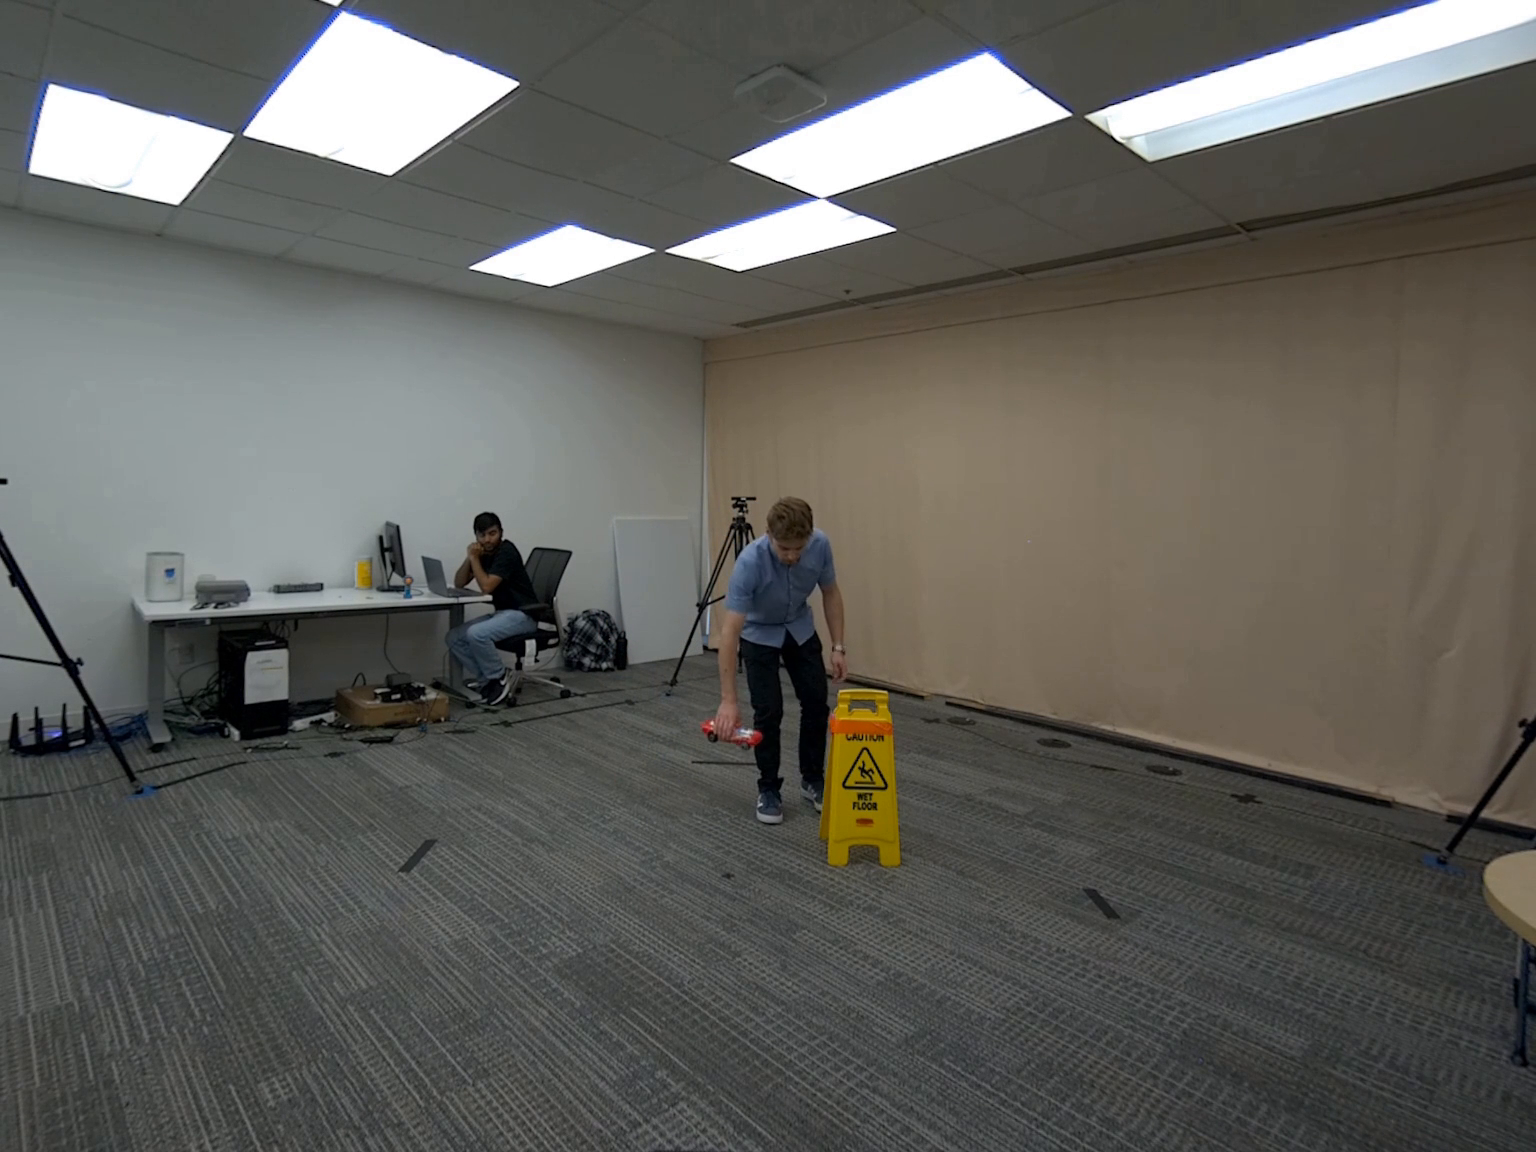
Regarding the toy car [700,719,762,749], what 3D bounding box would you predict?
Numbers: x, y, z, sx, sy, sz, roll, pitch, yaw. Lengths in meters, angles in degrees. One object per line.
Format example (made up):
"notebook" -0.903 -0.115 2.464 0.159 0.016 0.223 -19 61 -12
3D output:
"toy car" -0.153 0.642 3.410 0.260 0.082 0.128 20 20 25
